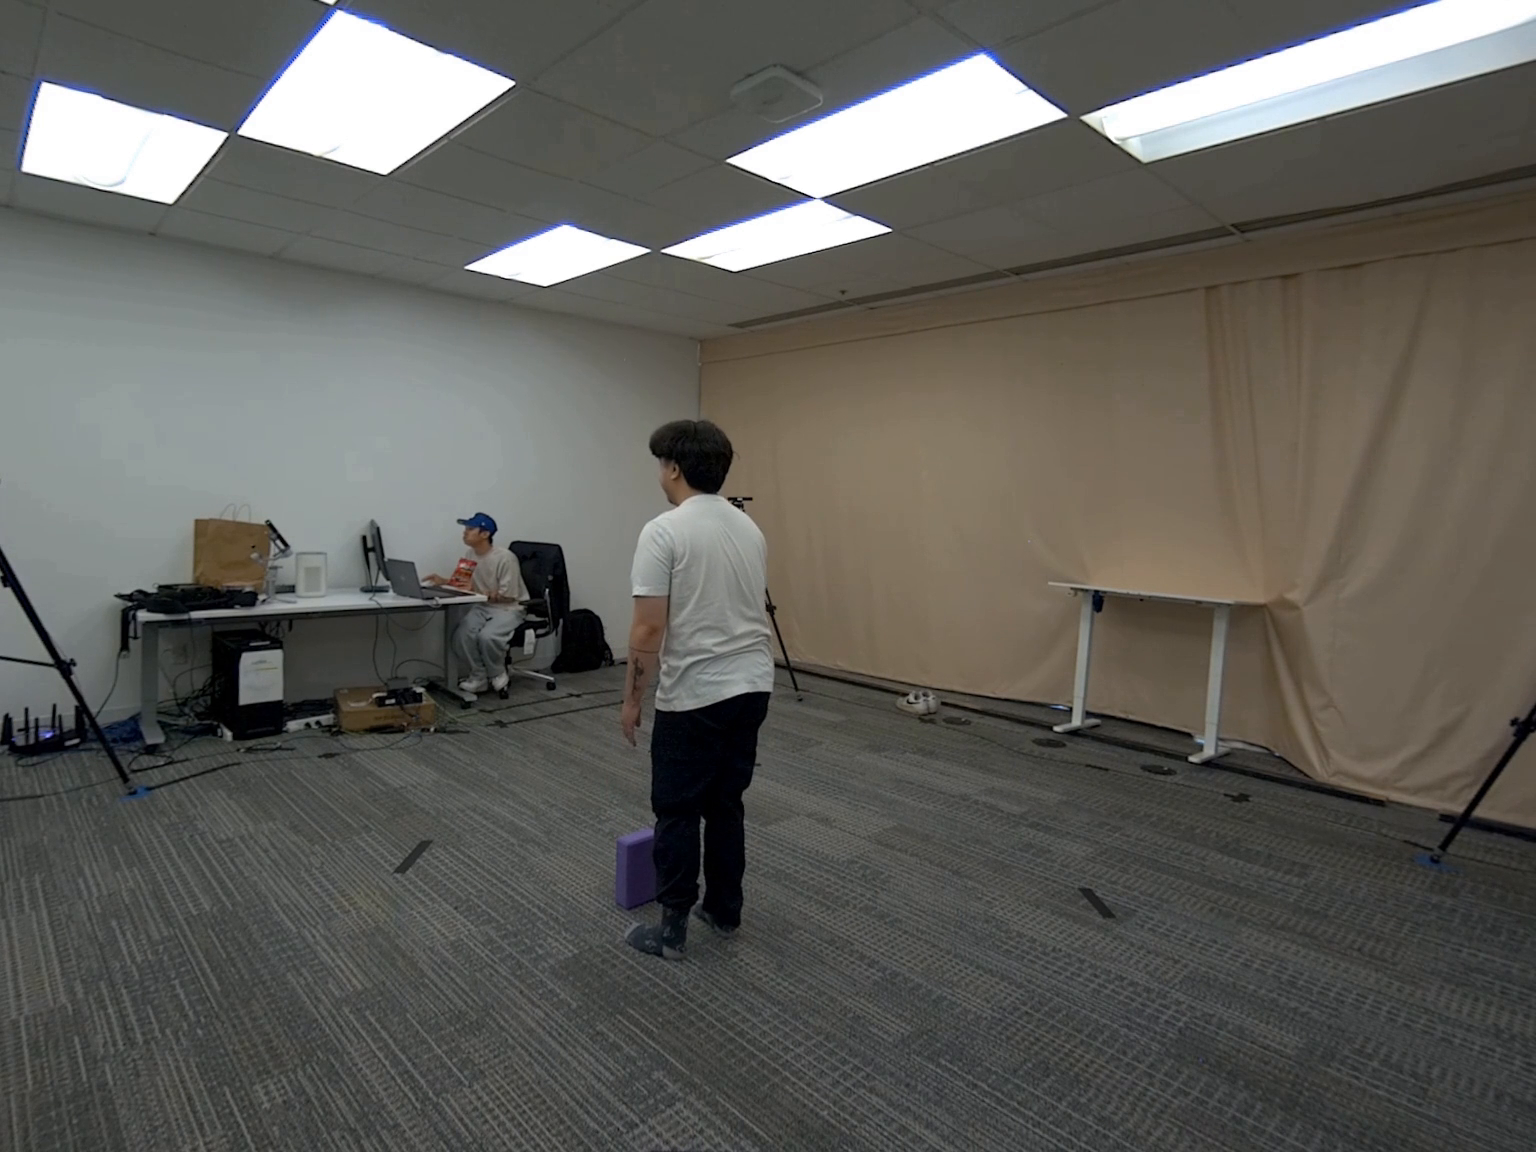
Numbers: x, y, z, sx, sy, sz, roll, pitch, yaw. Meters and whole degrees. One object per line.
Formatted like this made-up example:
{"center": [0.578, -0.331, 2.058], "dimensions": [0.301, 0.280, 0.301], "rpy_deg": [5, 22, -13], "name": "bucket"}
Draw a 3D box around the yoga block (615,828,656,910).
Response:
{"center": [-0.455, 1.007, 2.892], "dimensions": [0.146, 0.228, 0.078], "rpy_deg": [-4, 6, -44], "name": "yoga block"}
